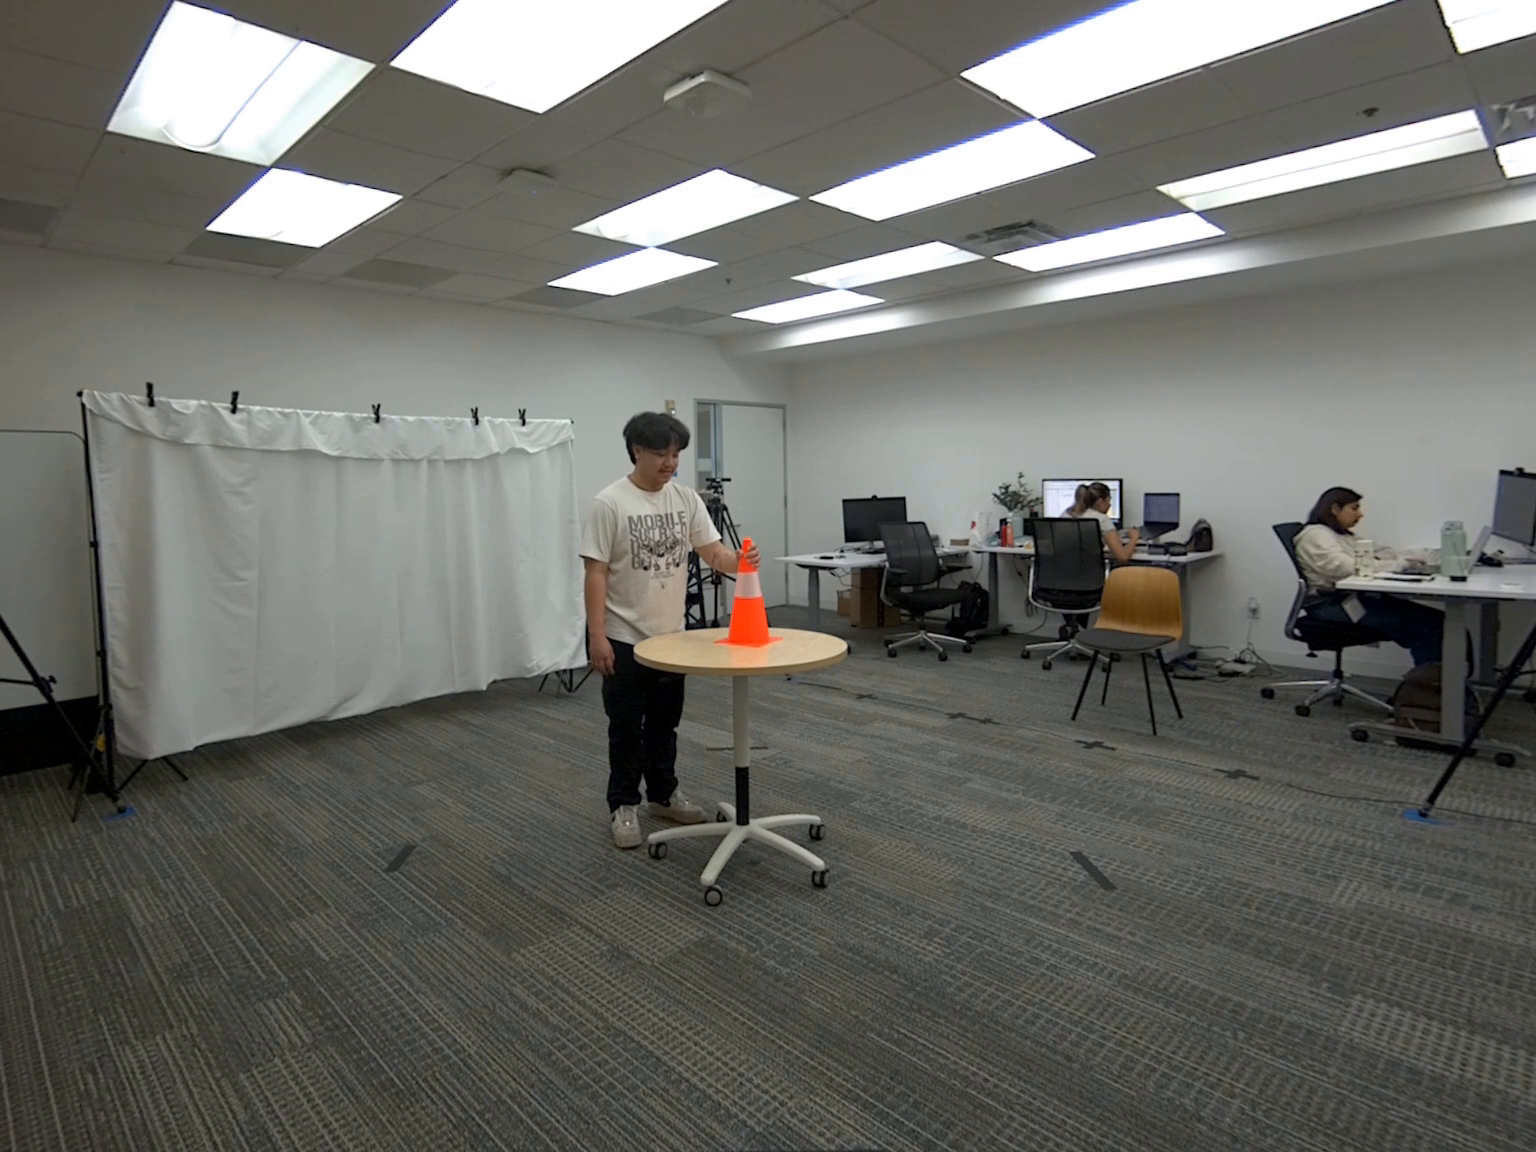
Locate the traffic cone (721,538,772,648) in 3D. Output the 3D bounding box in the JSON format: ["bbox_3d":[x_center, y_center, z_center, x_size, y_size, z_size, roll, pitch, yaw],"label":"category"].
[{"bbox_3d":[-0.074,0.054,3.155,0.208,0.382,0.200,0,4,30],"label":"traffic cone"}]
